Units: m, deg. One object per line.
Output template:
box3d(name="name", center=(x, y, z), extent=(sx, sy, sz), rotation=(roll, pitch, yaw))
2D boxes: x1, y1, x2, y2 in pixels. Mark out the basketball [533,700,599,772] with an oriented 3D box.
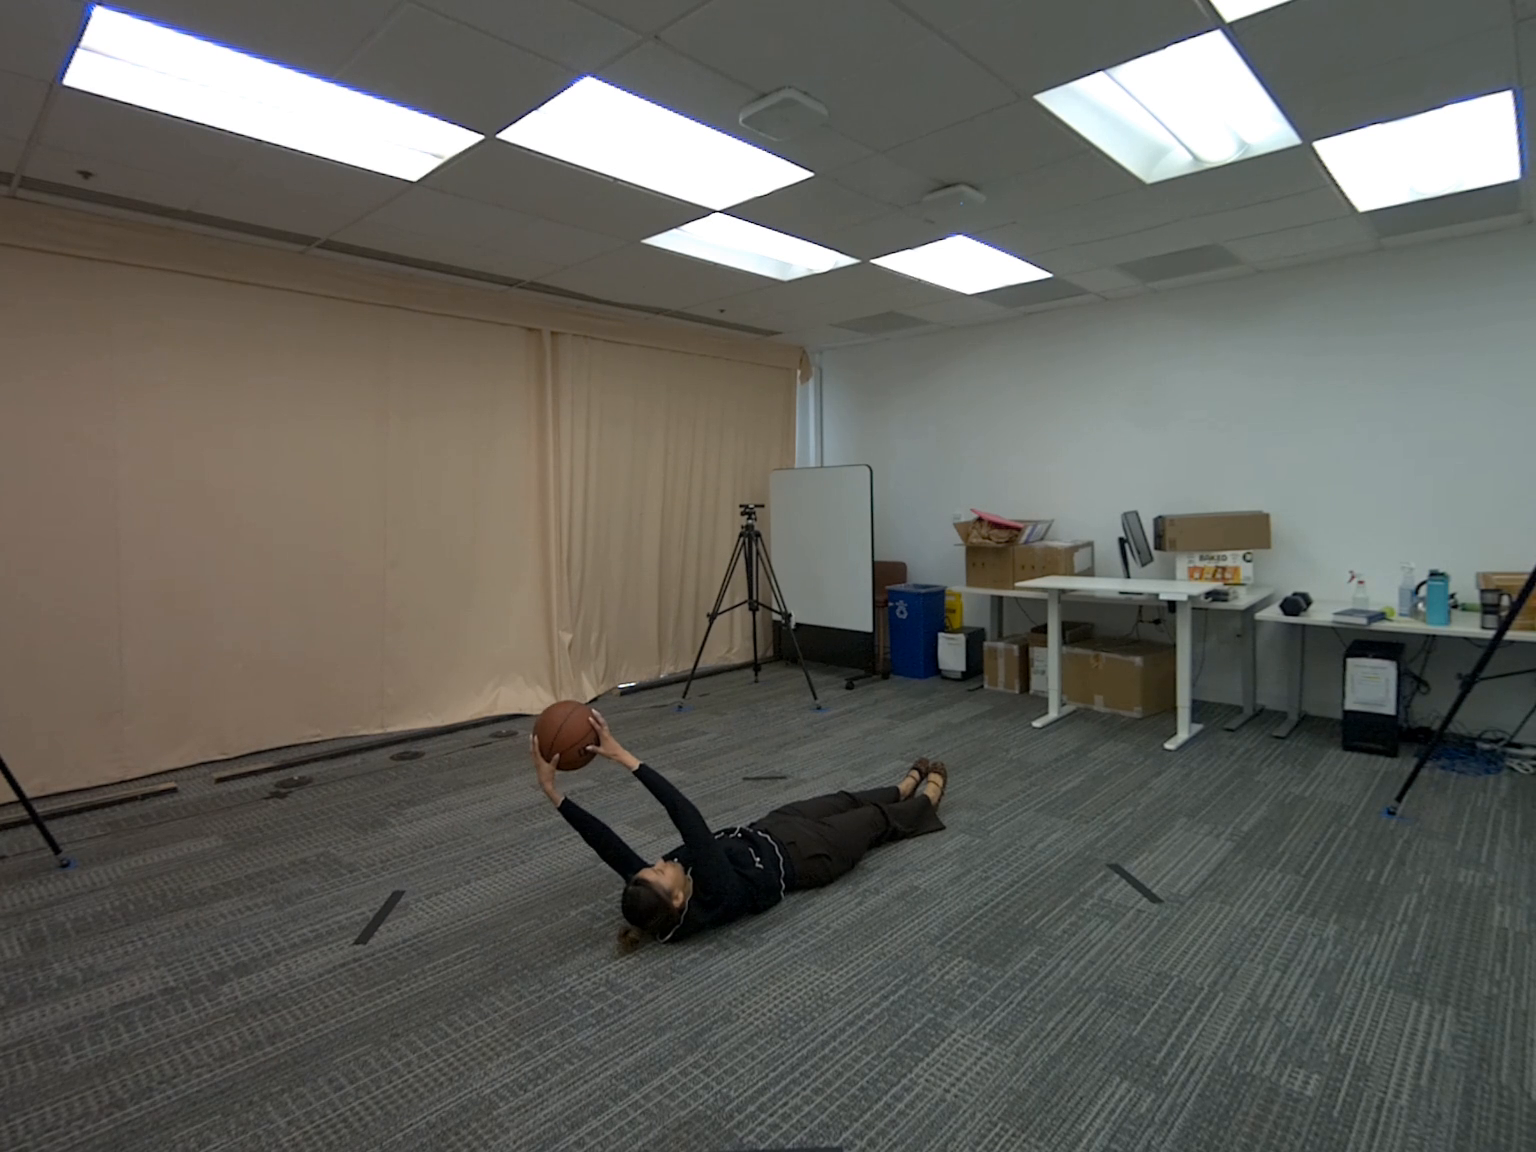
box3d(name="basketball", center=(-0.674, 0.546, 2.857), extent=(0.236, 0.235, 0.237), rotation=(-1, 4, -2))
